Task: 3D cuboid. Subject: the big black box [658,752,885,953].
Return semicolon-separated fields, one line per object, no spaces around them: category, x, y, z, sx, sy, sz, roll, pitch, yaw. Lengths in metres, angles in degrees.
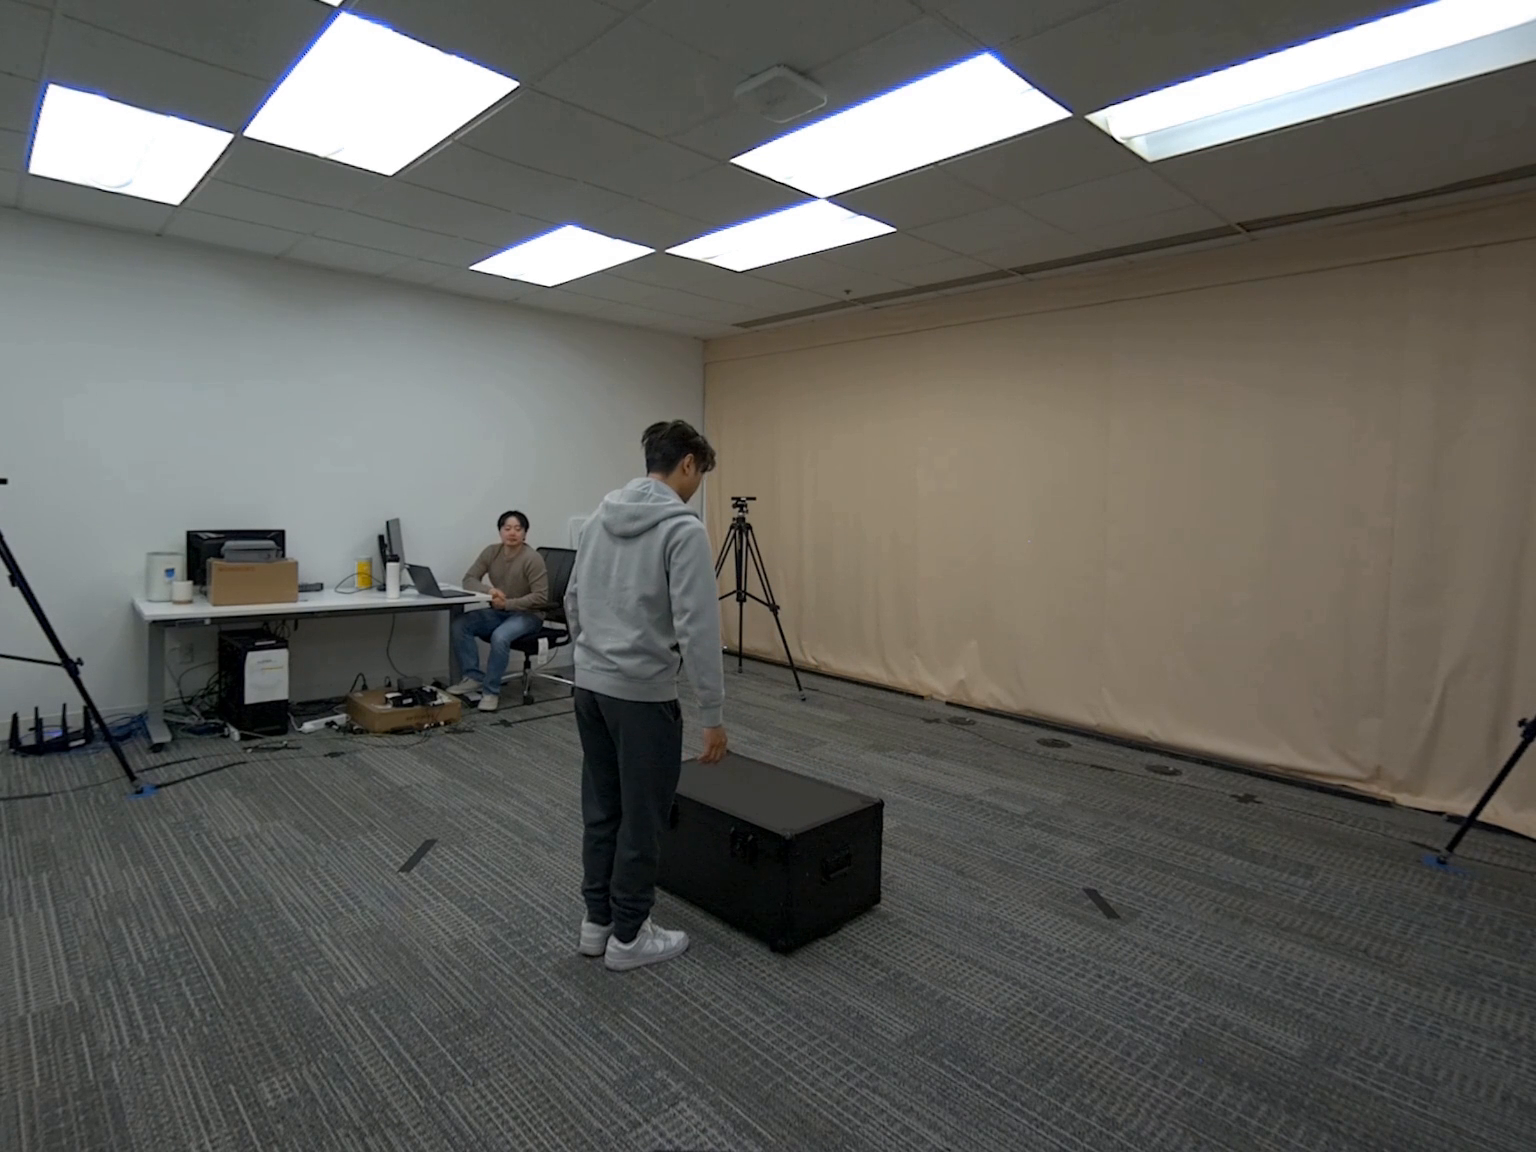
big black box;-0.083;0.929;3.000;0.884;0.395;0.509;7;7;44
